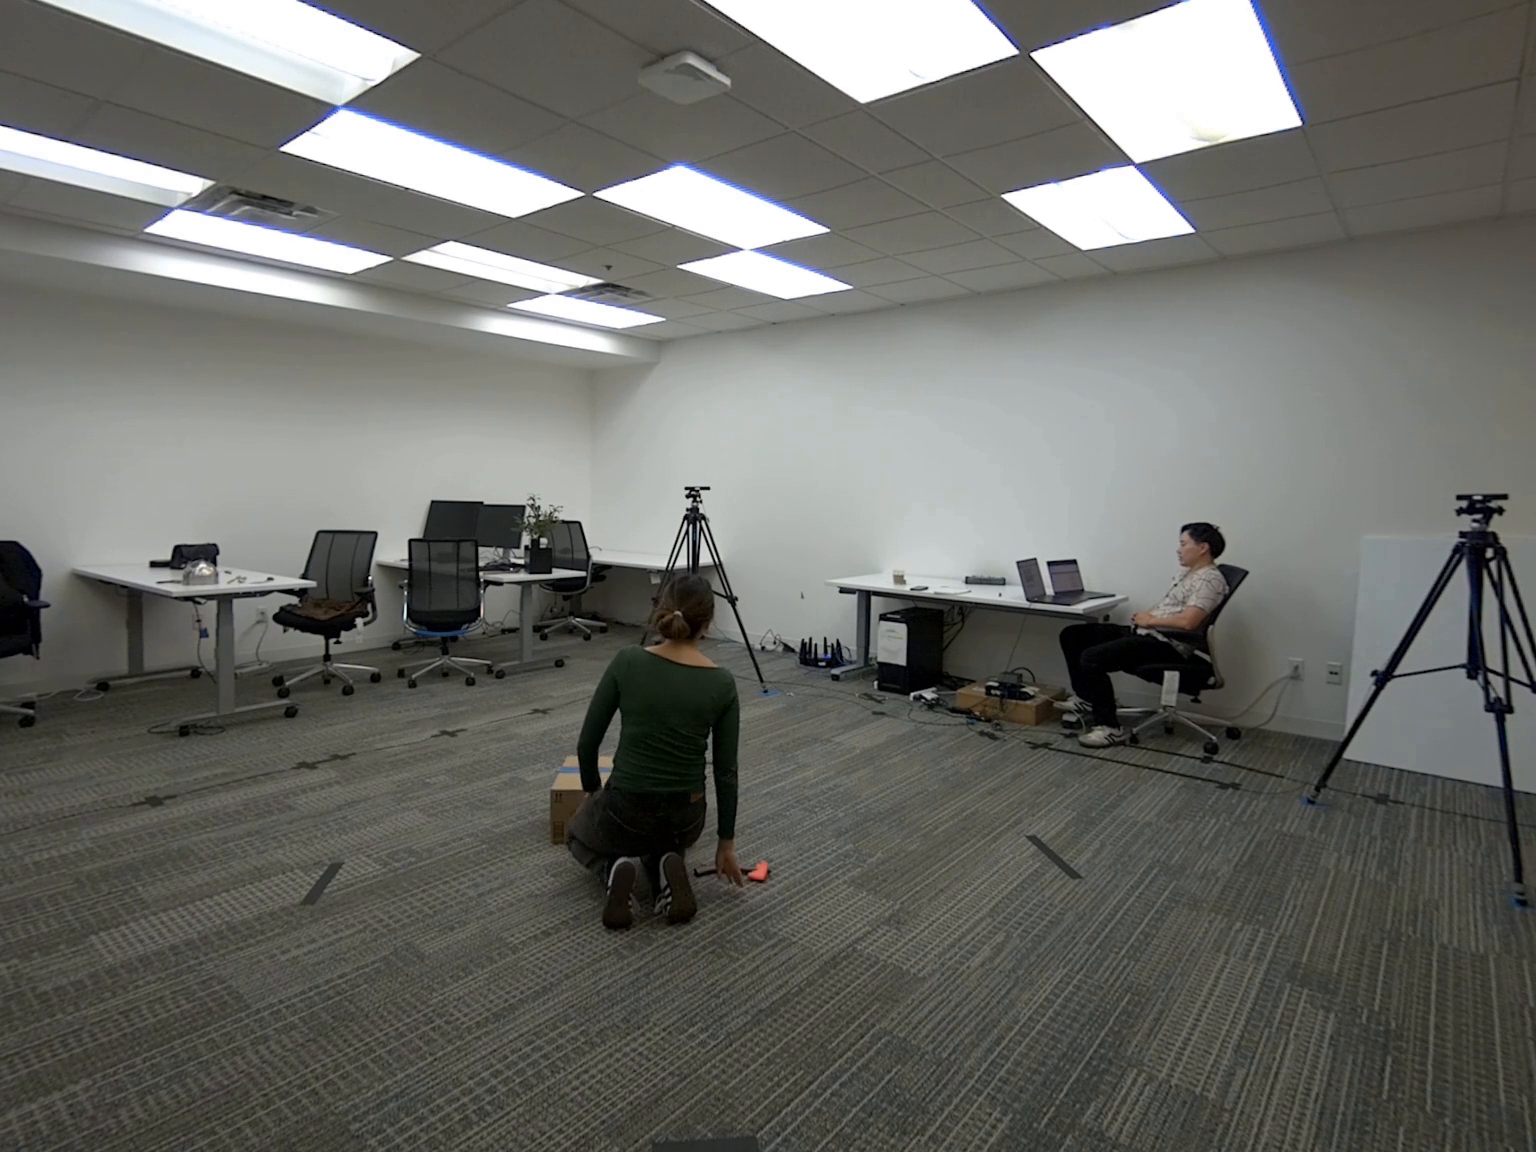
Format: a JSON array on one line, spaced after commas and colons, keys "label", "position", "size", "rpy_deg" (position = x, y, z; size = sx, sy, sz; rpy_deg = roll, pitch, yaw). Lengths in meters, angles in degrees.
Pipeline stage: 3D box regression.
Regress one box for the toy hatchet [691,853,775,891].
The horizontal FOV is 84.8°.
[{"label": "toy hatchet", "position": [-0.129, 1.063, 3.030], "size": [0.266, 0.029, 0.134], "rpy_deg": [-4, 10, -15]}]
